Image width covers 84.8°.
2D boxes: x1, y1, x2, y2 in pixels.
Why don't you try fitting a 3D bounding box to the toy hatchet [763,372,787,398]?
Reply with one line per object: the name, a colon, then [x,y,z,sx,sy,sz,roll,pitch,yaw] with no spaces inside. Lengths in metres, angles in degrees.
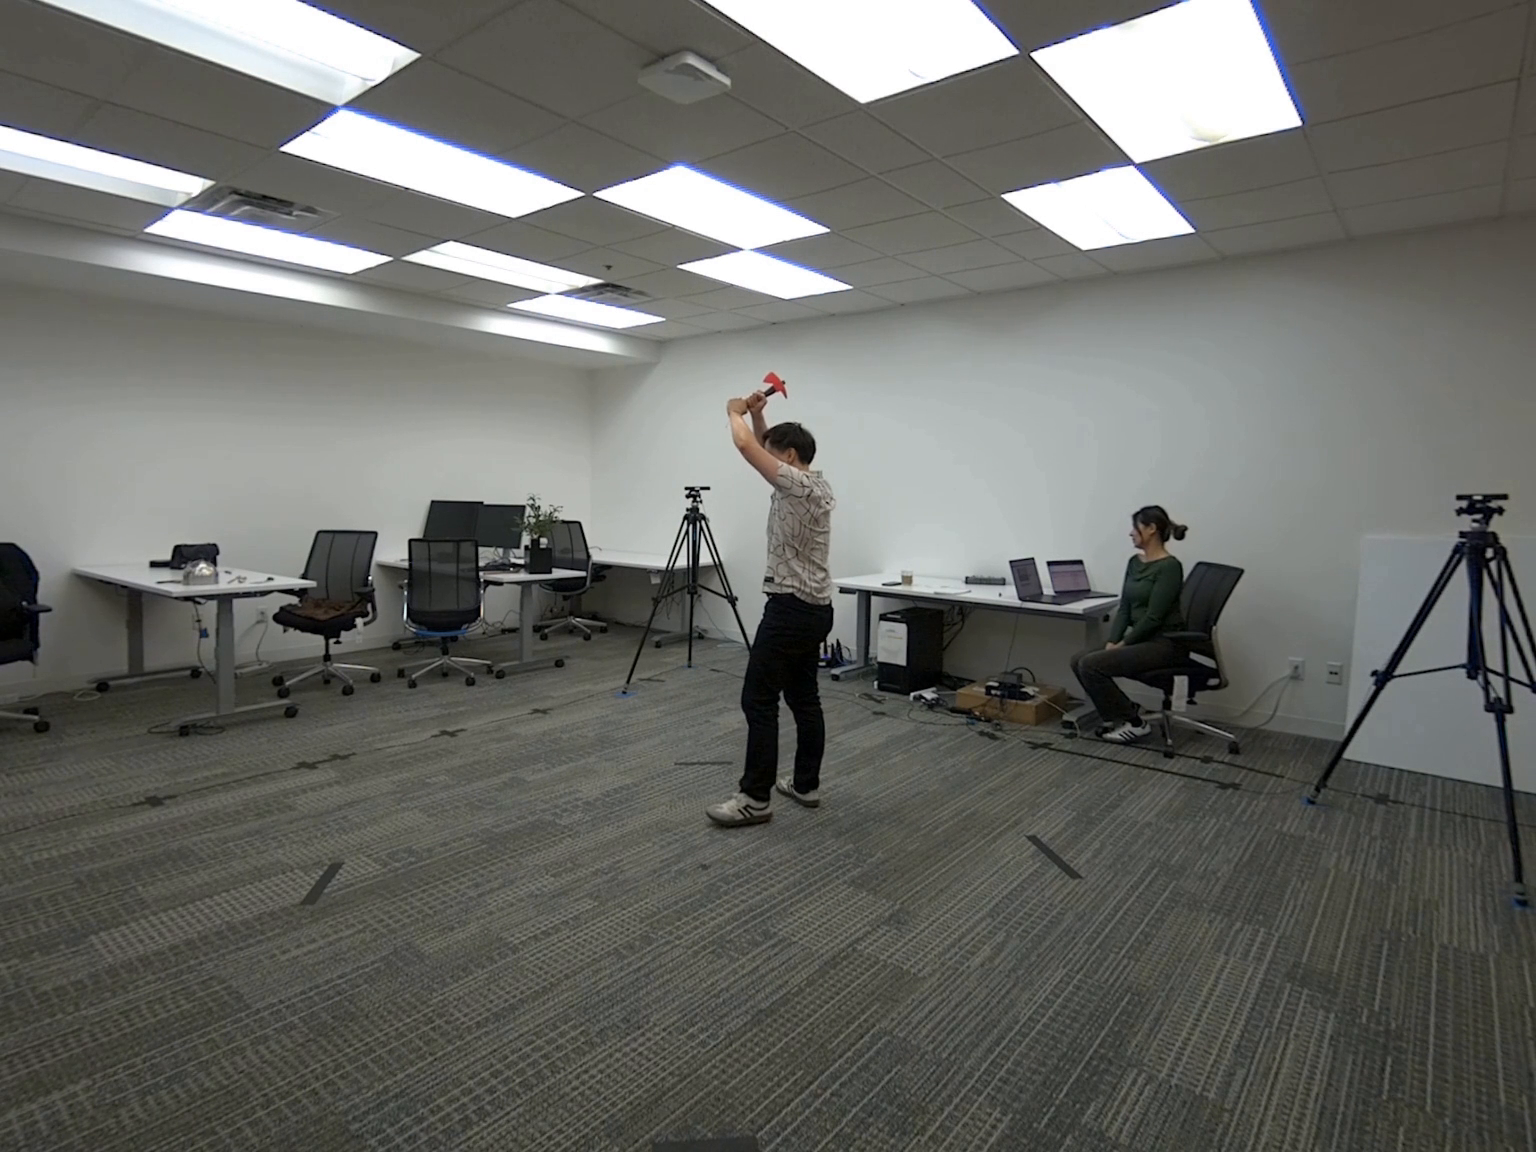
toy hatchet: [-0.068,-0.830,3.754,0.272,0.129,0.030,-9,13,7]
